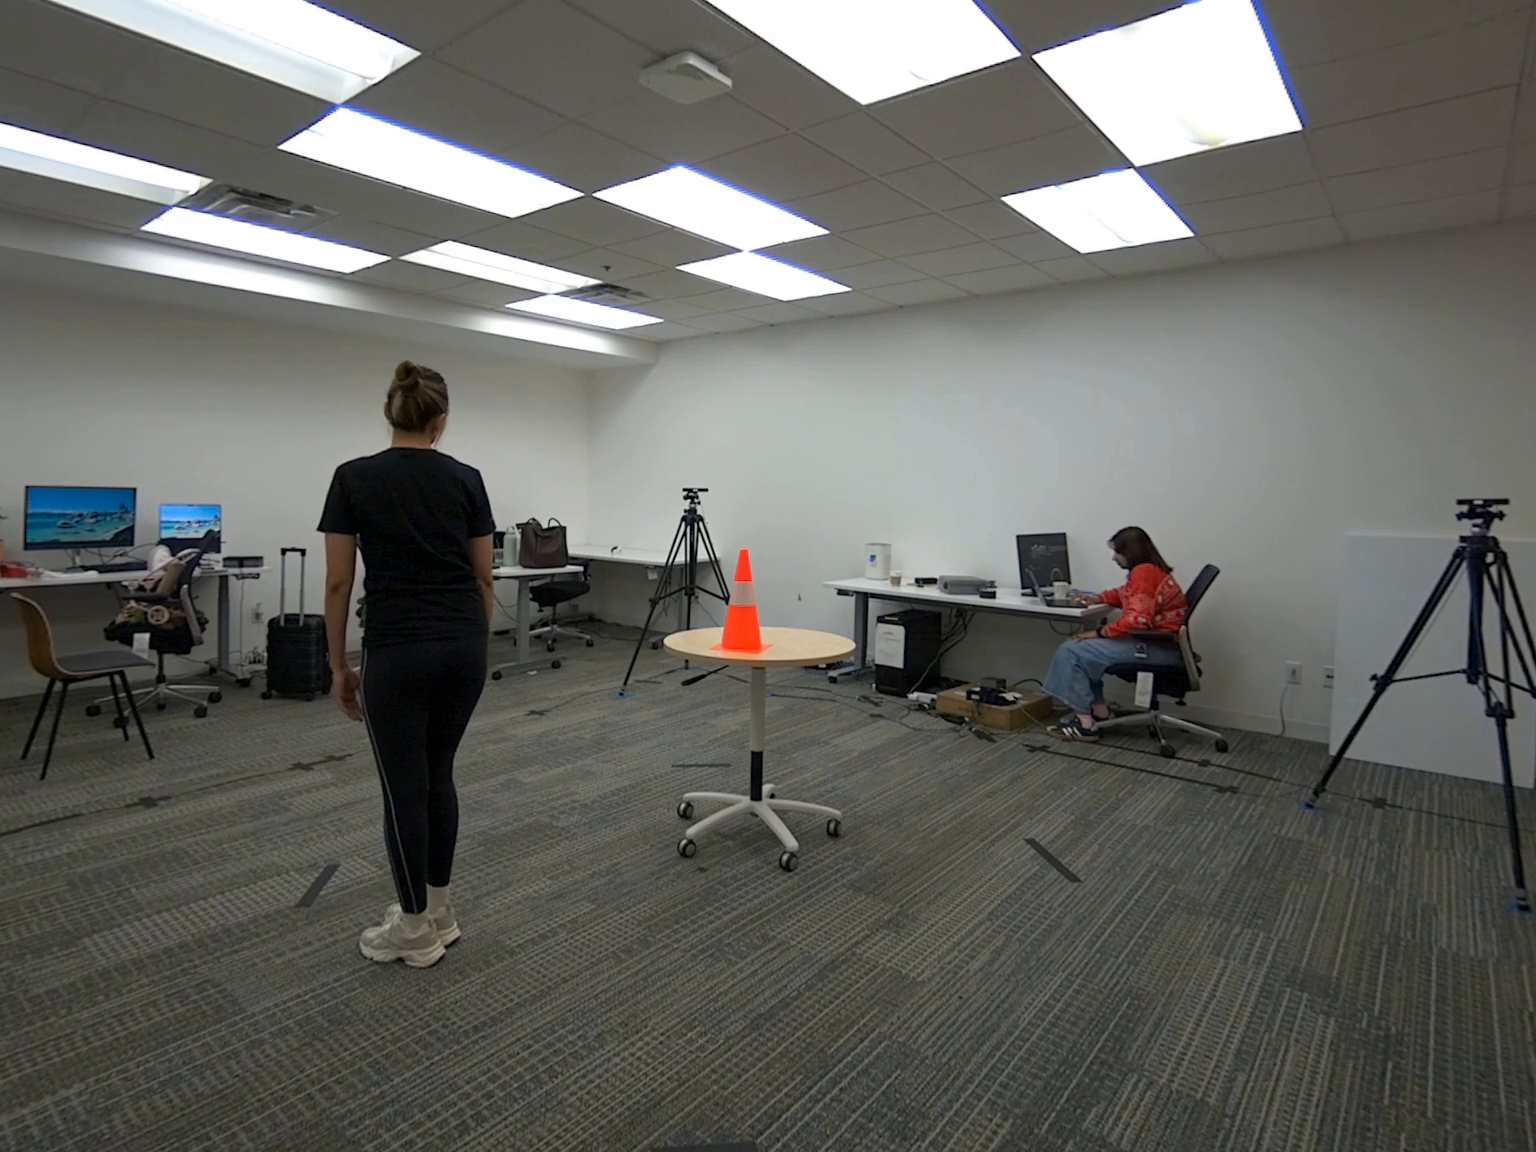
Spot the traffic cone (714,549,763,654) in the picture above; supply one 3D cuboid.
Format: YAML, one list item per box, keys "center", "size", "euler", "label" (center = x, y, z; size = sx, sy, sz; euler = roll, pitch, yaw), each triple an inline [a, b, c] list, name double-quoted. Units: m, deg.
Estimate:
- center: [-0.105, 0.087, 3.269]
  size: [0.208, 0.382, 0.201]
  euler: [4, 4, 19]
  label: "traffic cone"
